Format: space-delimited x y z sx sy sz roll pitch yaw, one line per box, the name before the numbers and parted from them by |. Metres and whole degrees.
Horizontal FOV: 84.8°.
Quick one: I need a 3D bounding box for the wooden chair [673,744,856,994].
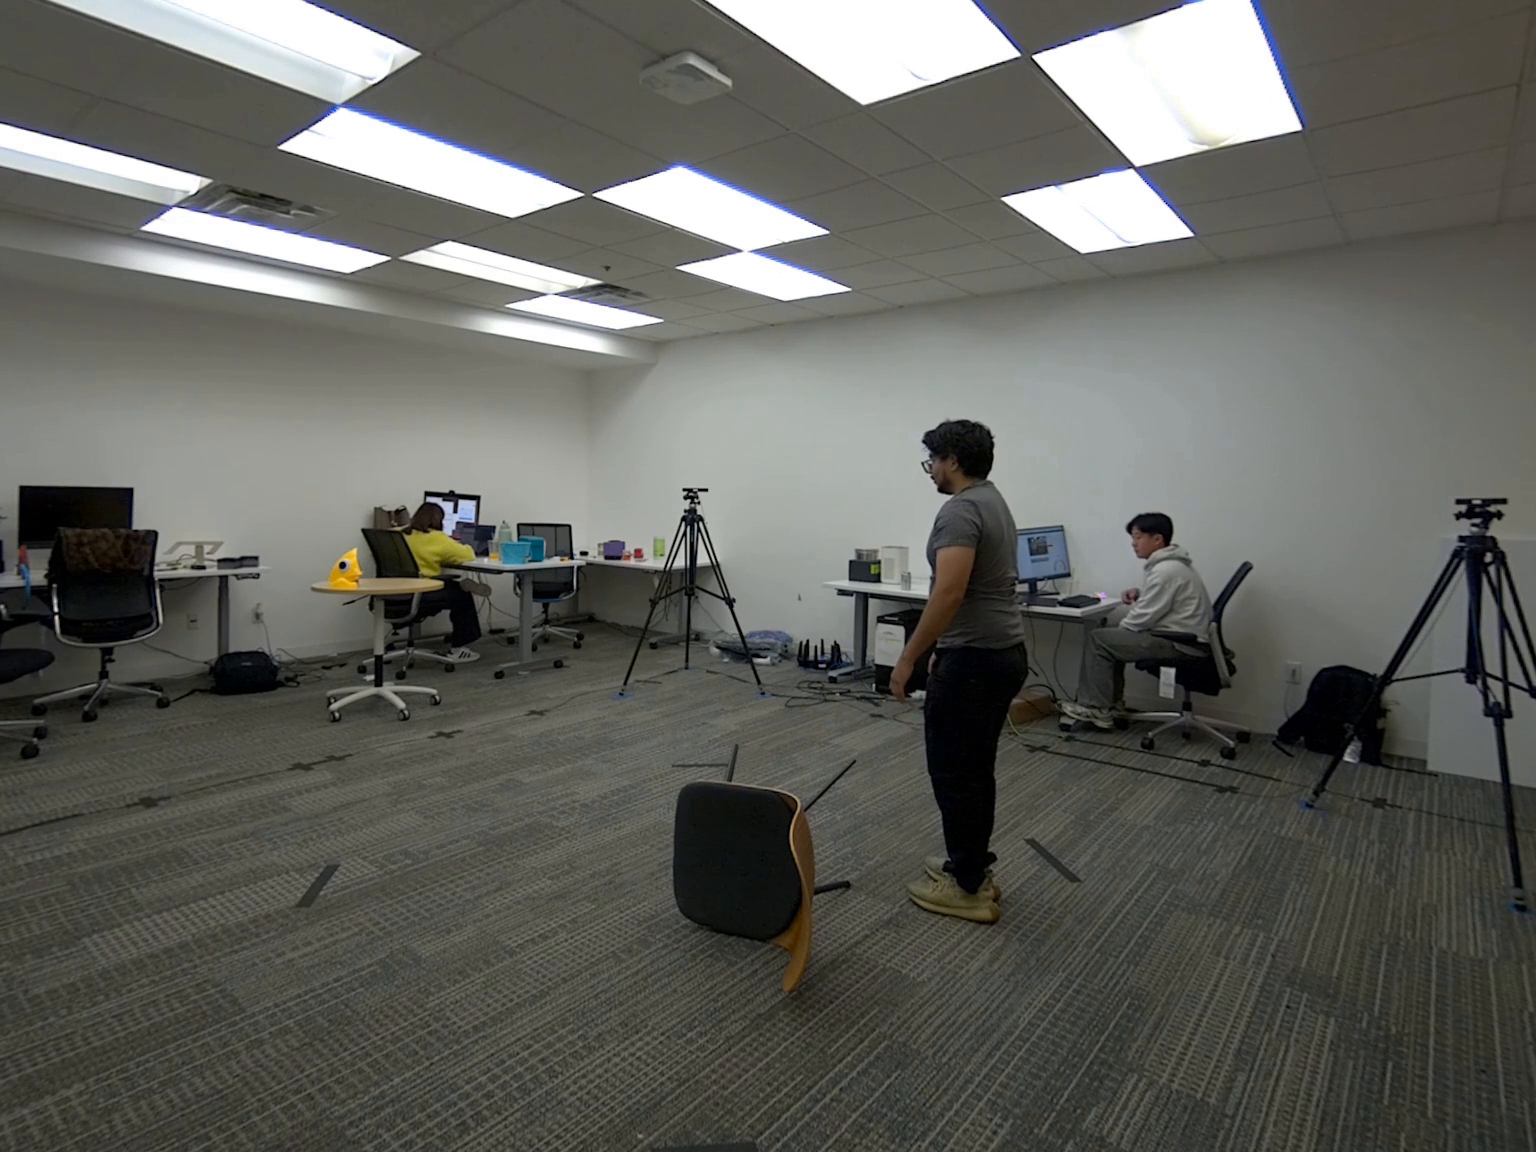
wooden chair | -0.054 0.881 2.675 0.531 0.476 0.867 4 5 13
